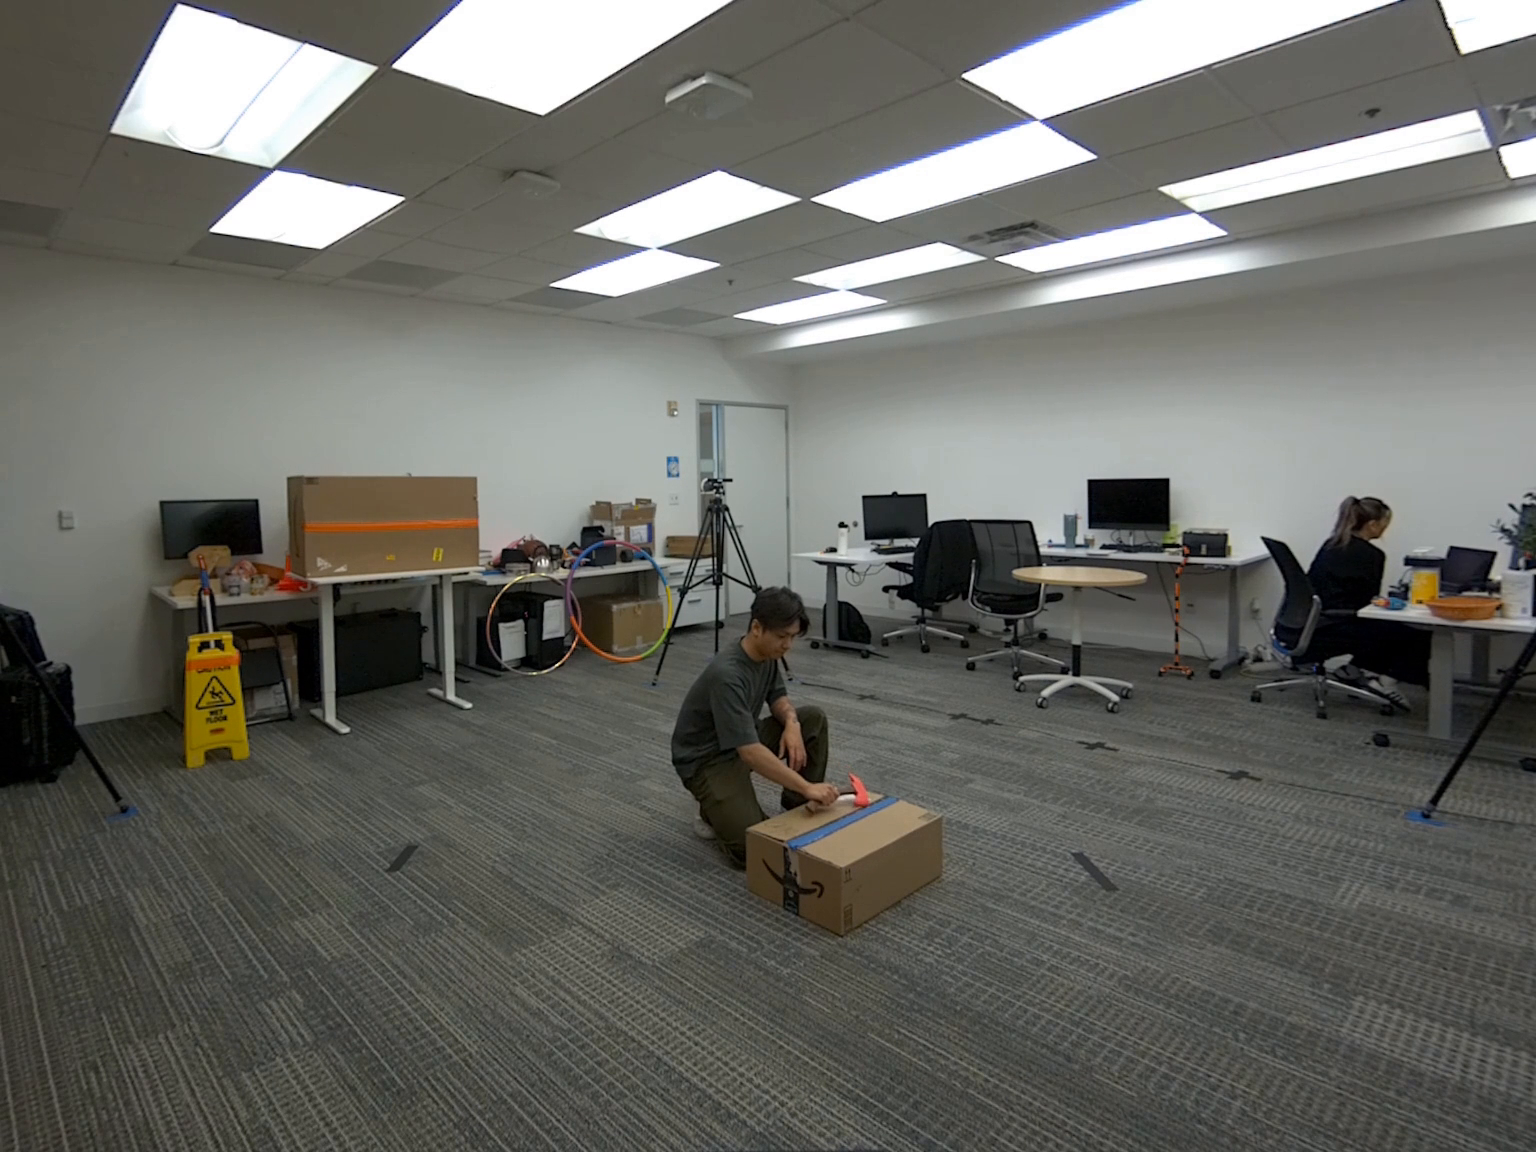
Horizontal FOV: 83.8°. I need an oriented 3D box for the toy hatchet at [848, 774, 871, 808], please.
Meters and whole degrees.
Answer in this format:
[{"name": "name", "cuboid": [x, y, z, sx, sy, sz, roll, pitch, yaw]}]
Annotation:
[{"name": "toy hatchet", "cuboid": [0.254, 0.804, 3.041, 0.265, 0.029, 0.135, -22, 54, -39]}]
